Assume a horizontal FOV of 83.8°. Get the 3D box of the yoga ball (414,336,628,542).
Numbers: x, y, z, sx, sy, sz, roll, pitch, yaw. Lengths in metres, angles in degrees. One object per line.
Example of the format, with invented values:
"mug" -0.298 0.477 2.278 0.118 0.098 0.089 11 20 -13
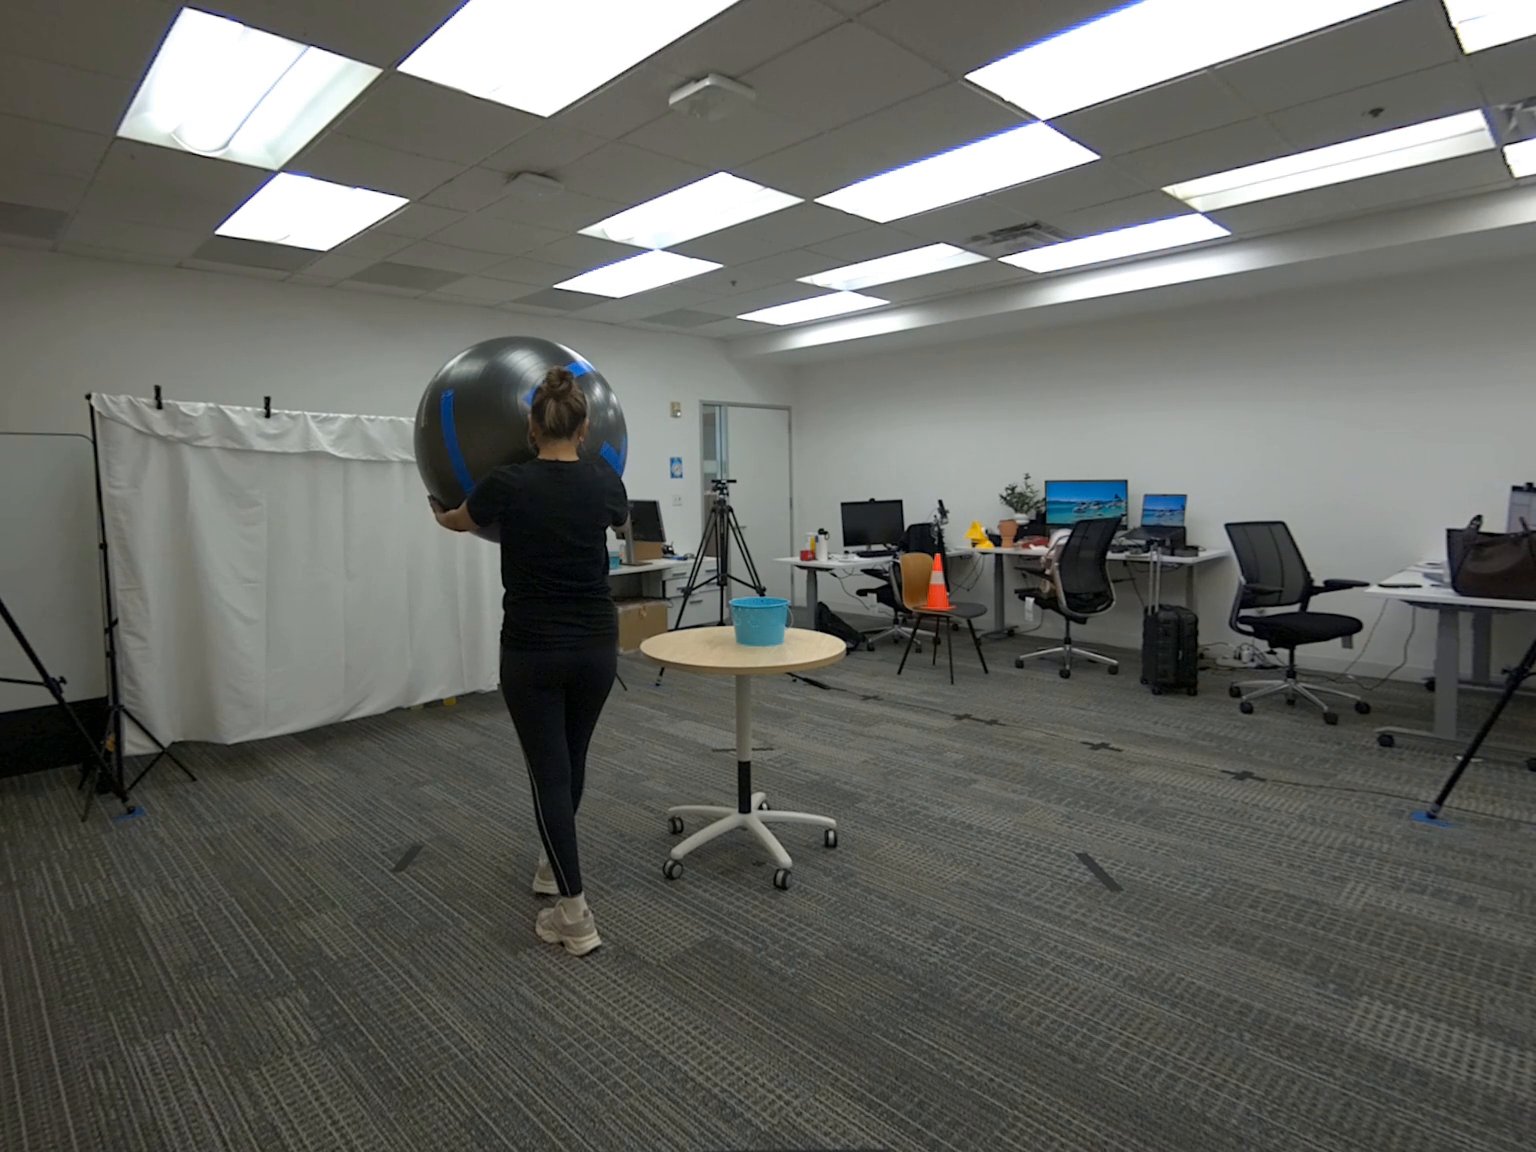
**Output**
"yoga ball" -0.897 -0.478 3.121 0.757 0.755 0.762 -1 5 -2
